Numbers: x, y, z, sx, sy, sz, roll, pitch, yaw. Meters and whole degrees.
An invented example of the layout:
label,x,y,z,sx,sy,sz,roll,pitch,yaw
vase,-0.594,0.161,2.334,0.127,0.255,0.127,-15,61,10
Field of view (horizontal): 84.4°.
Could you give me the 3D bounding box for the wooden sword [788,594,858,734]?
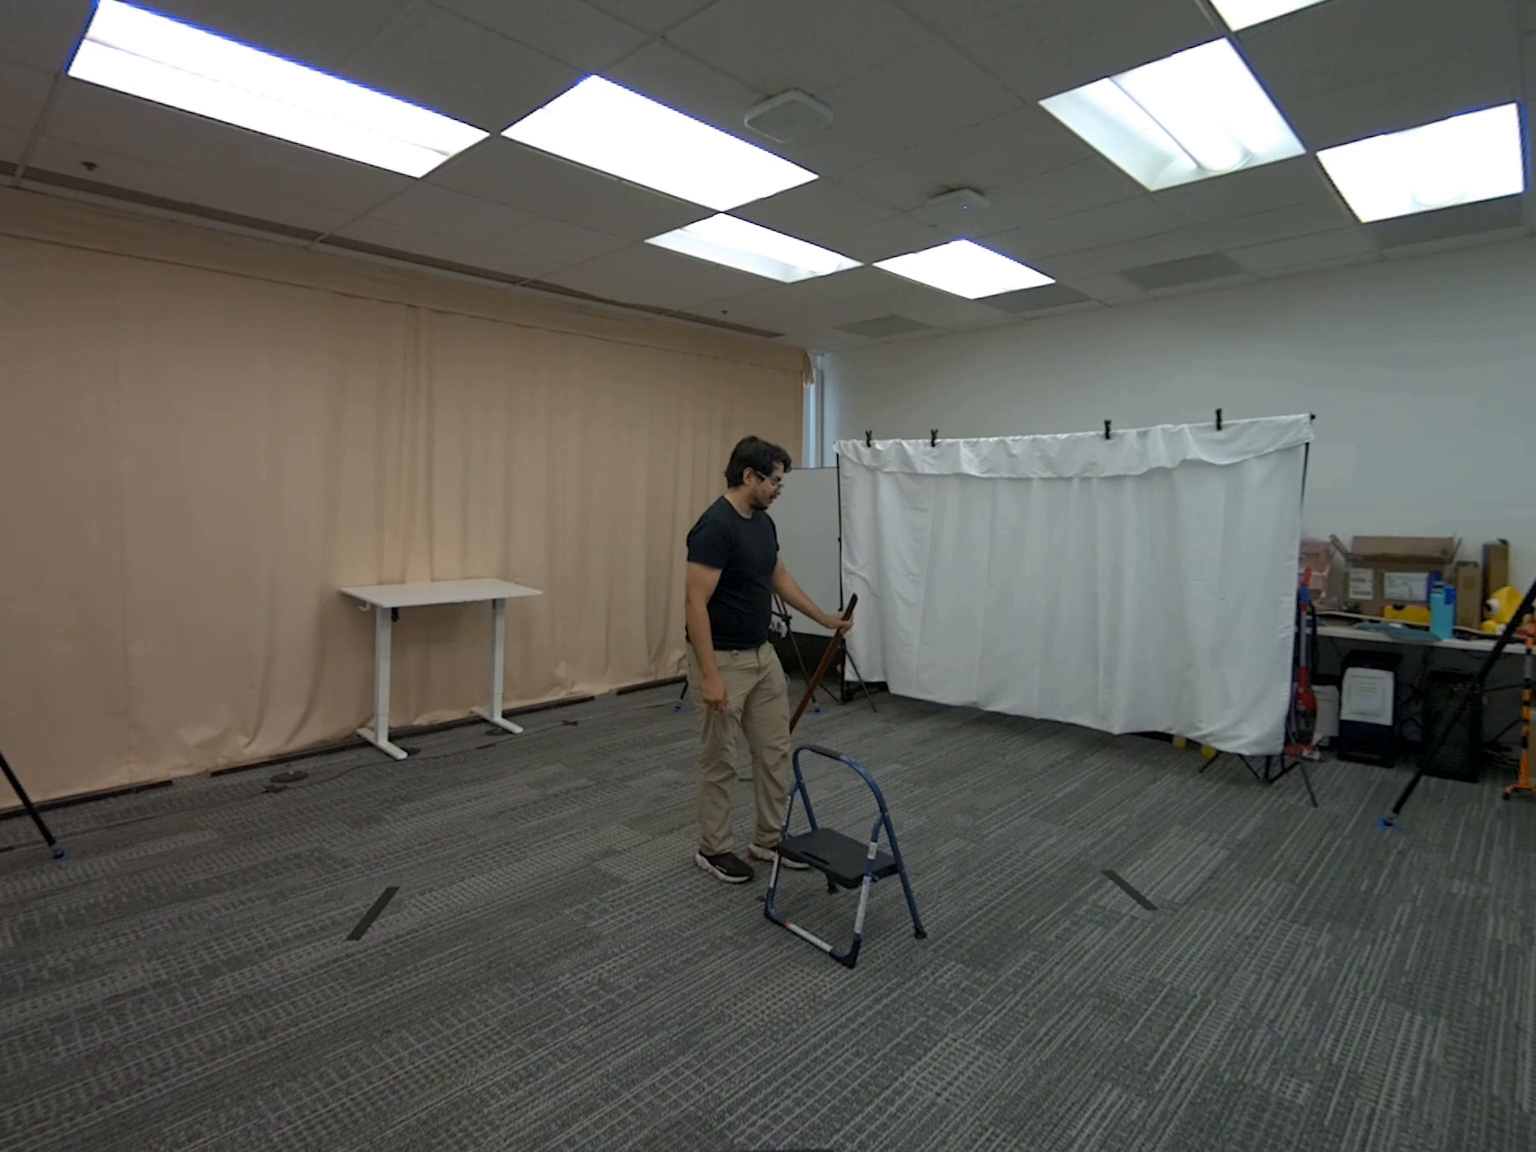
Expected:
label,x,y,z,sx,sy,sz,roll,pitch,yaw
wooden sword,0.171,0.468,3.502,0.052,1.020,0.023,38,36,20
